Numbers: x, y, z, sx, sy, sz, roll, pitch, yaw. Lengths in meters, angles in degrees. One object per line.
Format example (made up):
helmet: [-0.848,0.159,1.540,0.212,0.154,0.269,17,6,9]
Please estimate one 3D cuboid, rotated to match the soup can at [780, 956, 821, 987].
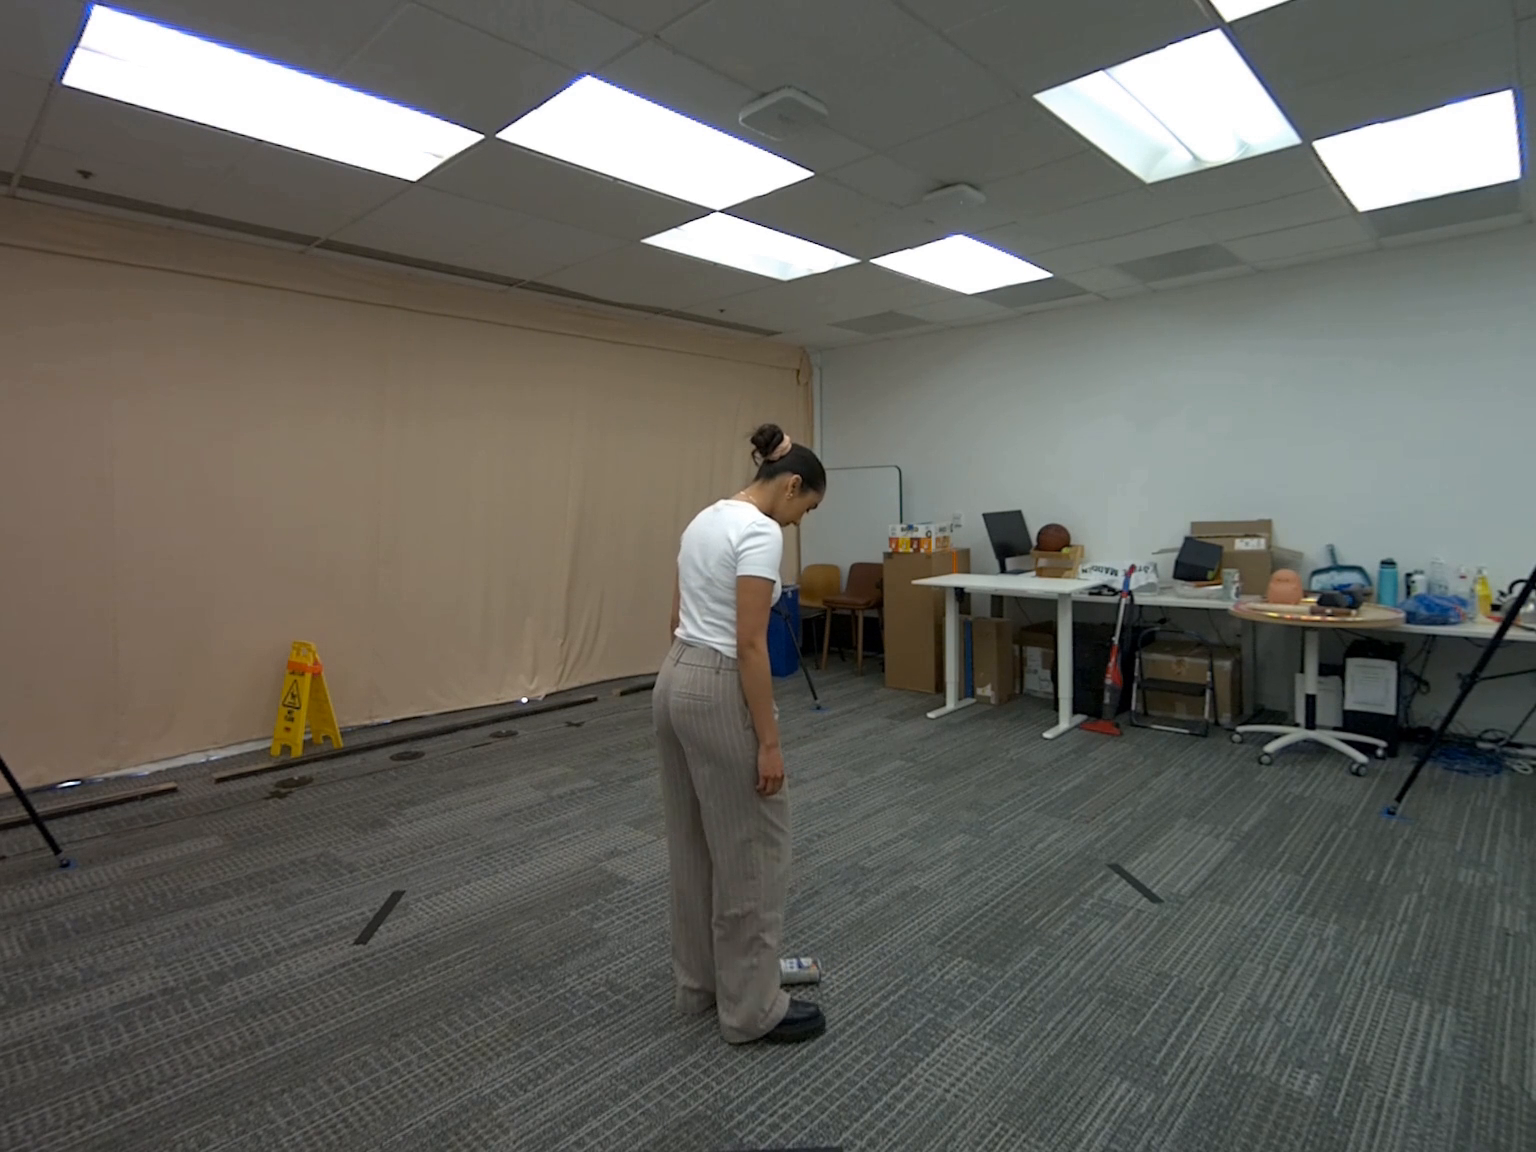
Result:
soup can: [0.103,1.149,2.446,0.121,0.067,0.068,1,4,-6]
